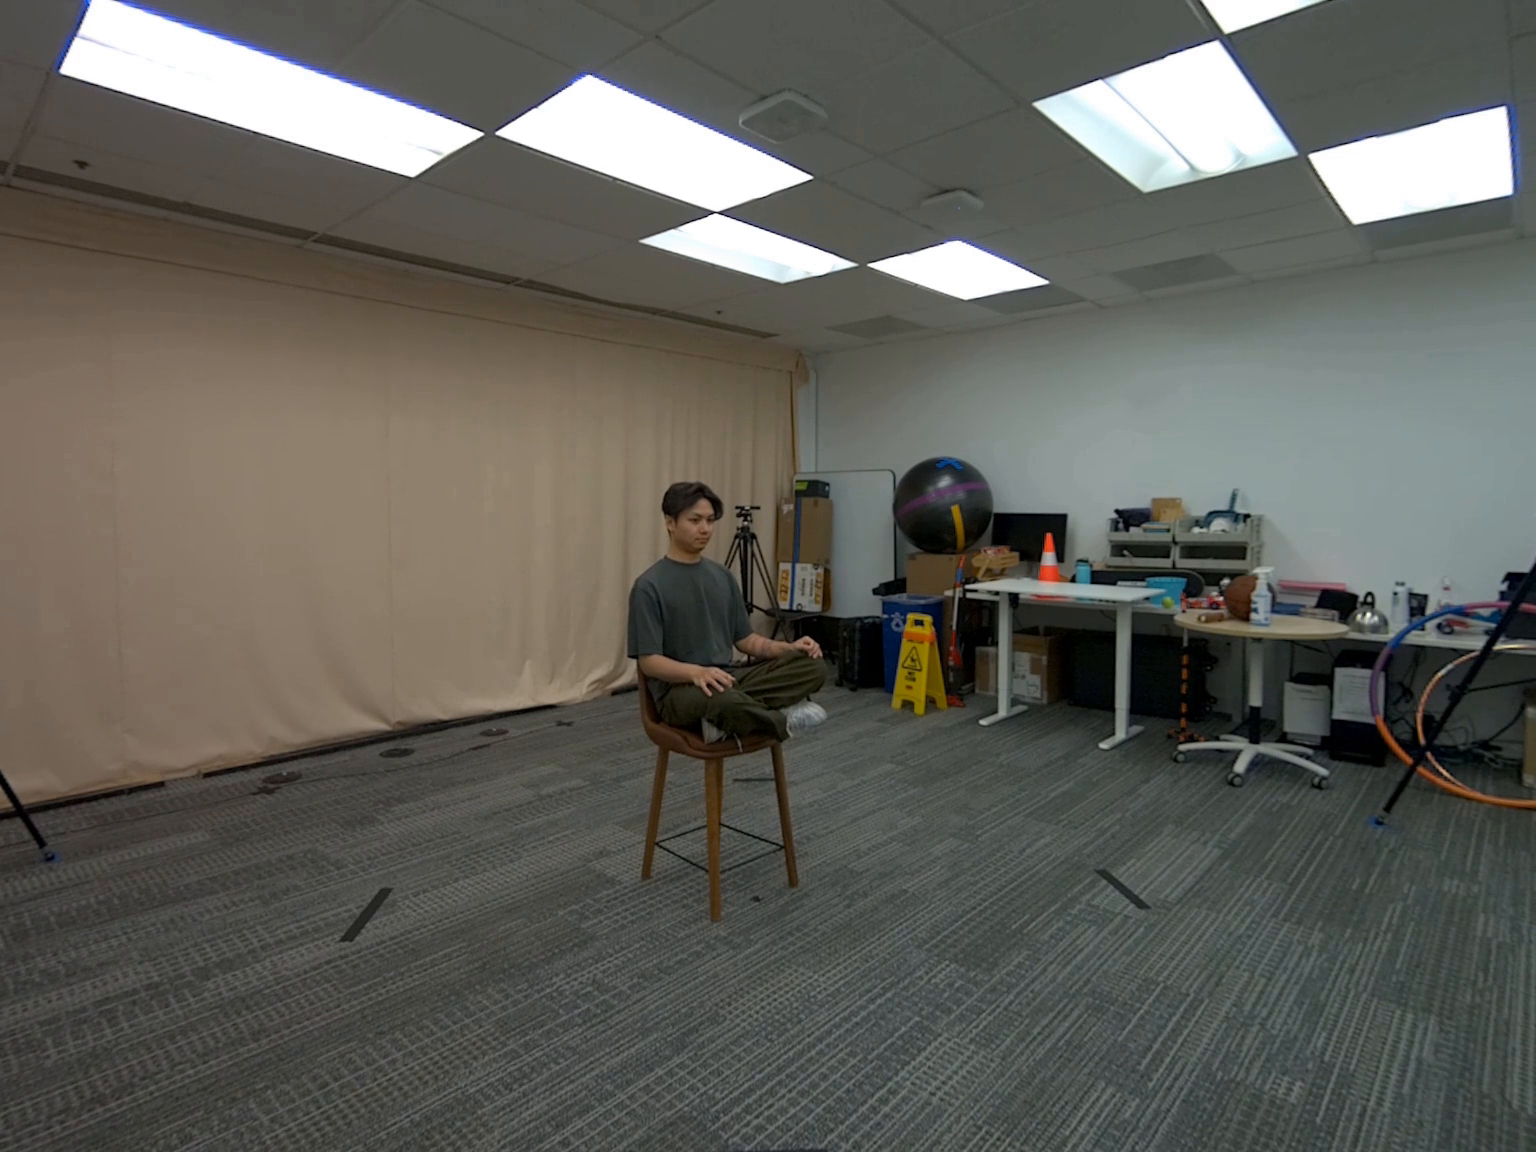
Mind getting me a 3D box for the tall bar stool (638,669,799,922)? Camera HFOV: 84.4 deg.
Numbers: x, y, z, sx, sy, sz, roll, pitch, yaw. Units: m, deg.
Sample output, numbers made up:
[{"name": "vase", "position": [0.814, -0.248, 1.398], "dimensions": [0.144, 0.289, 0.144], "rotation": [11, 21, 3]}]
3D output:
[{"name": "tall bar stool", "position": [-0.195, 0.700, 3.102], "dimensions": [0.442, 0.889, 0.482], "rotation": [-4, 2, -43]}]
